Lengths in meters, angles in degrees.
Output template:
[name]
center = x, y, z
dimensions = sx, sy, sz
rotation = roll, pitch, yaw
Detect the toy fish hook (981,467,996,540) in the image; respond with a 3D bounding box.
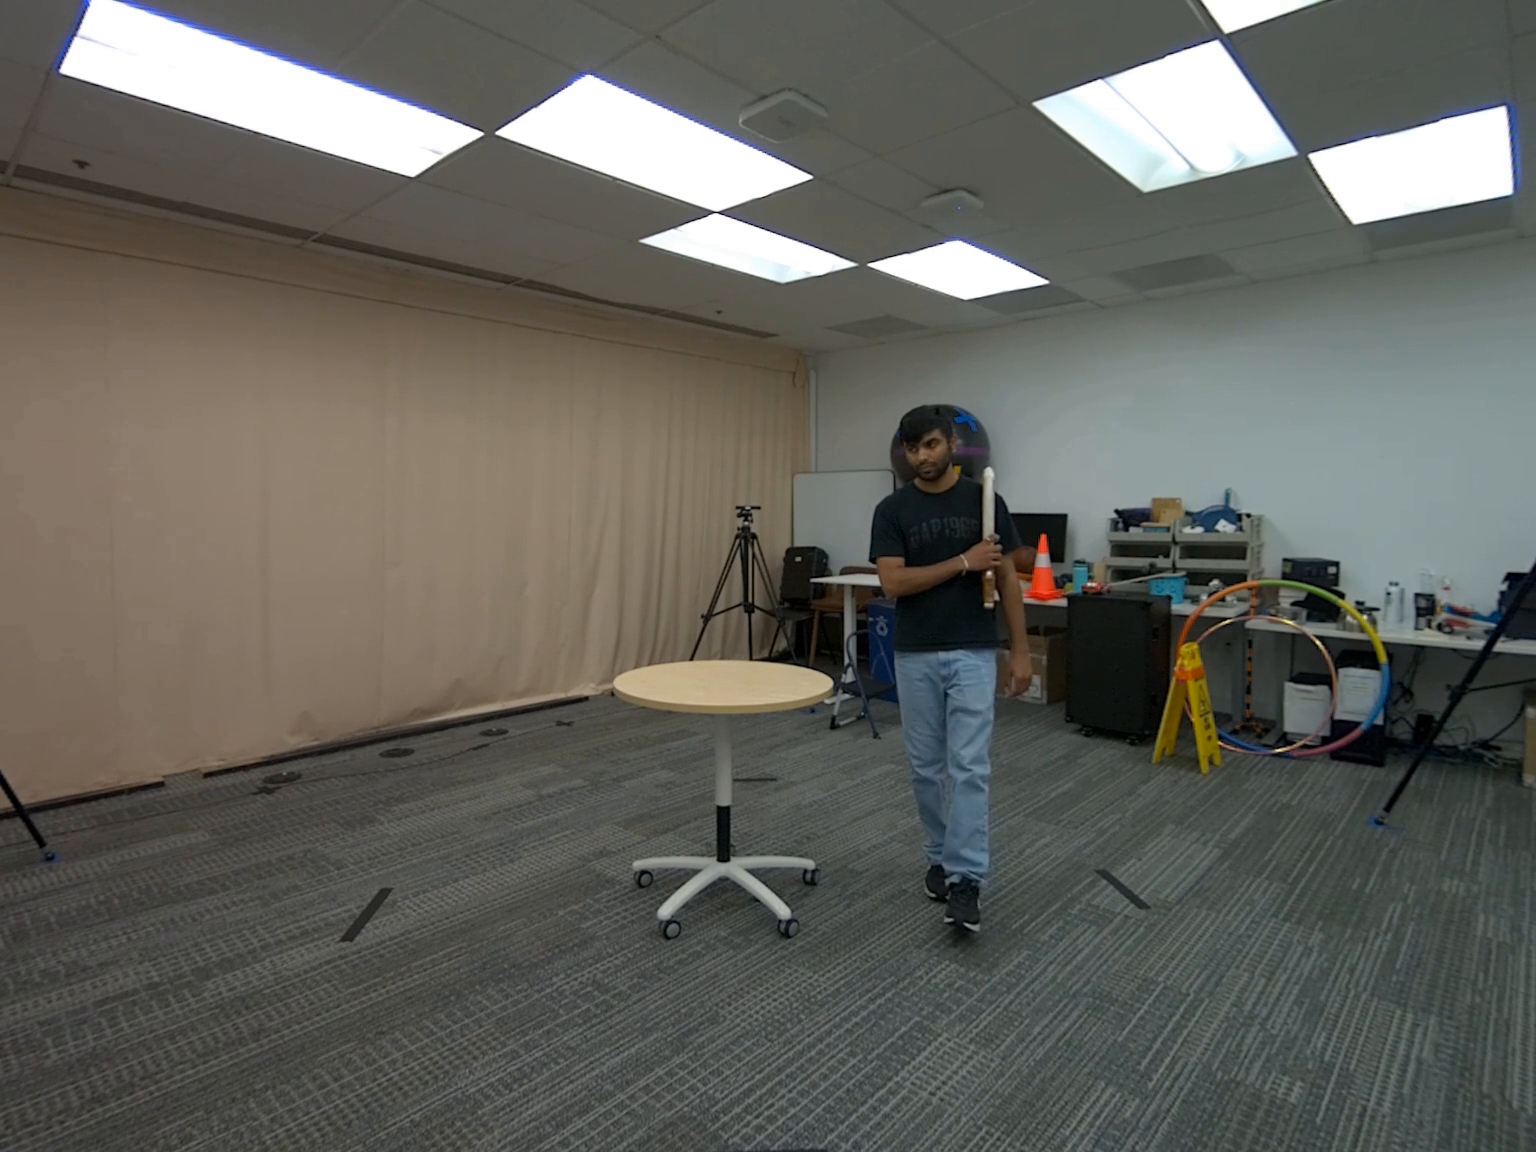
[toy fish hook]
center = 0.785, -0.126, 2.945
dimensions = 0.049, 0.509, 0.218
rotation = -1, -11, 23
